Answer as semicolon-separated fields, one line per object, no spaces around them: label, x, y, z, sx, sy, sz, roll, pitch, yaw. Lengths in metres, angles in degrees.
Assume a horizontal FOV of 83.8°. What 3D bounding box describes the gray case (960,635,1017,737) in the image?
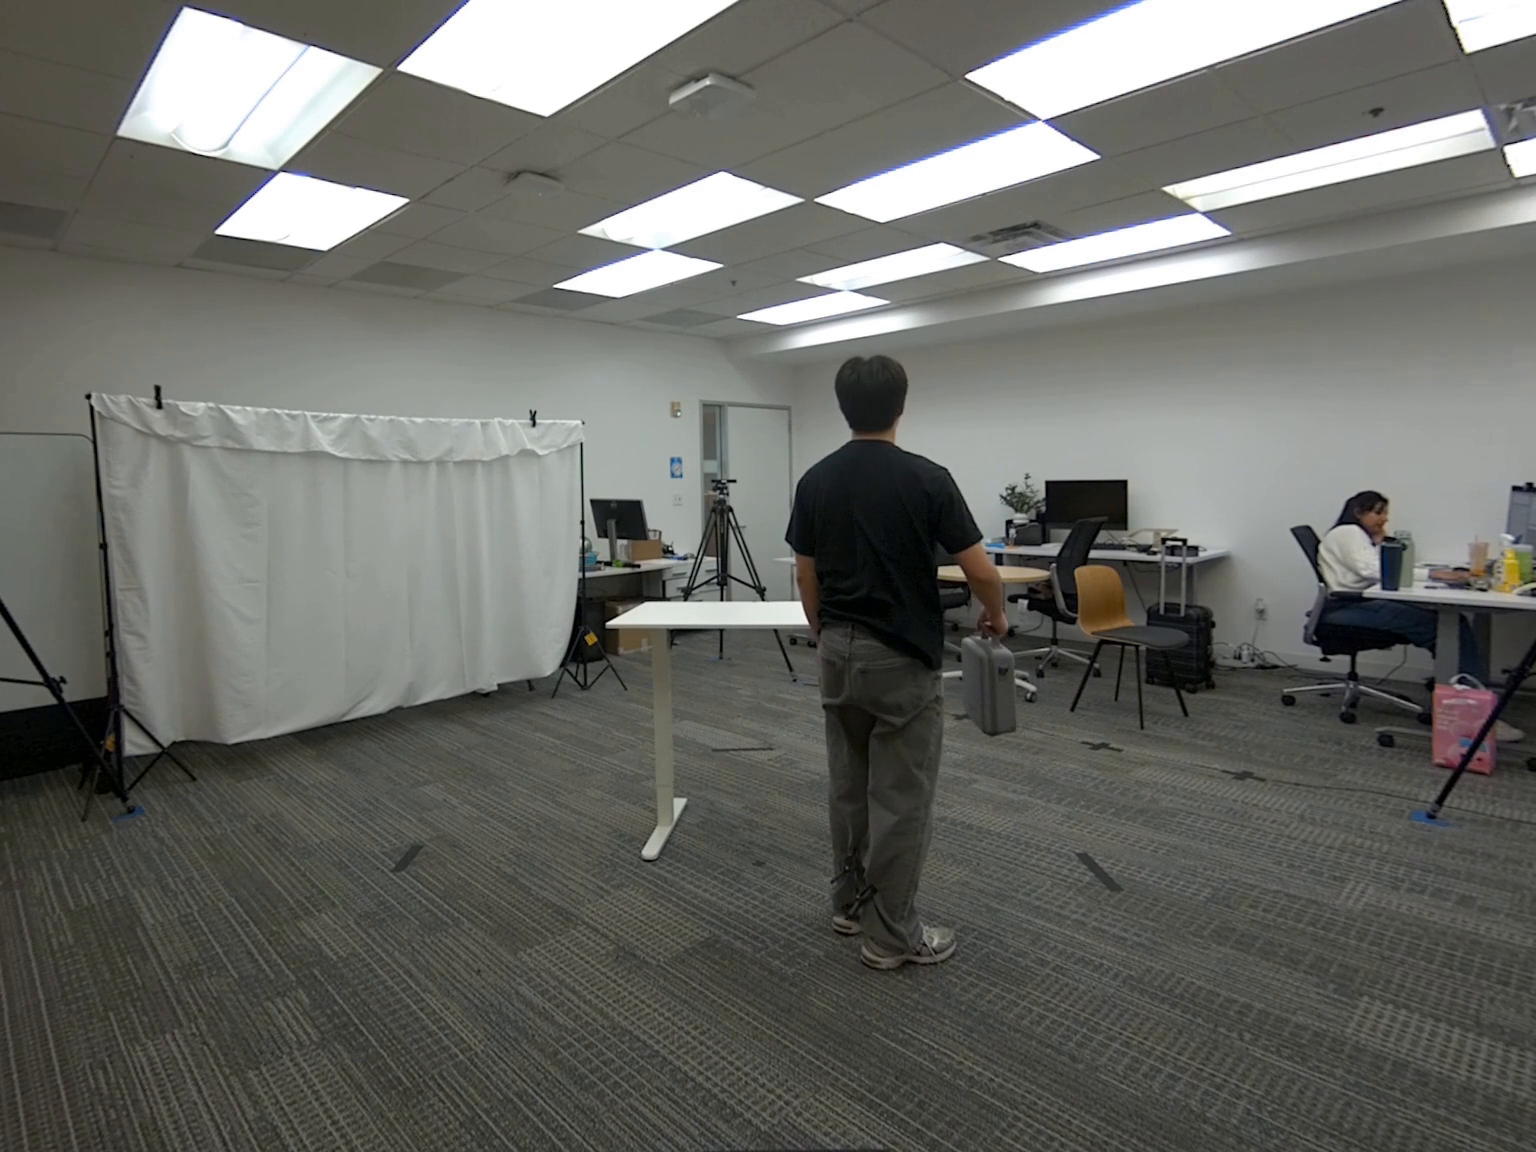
gray case;0.669;0.315;2.593;0.103;0.286;0.265;-2;6;-2
